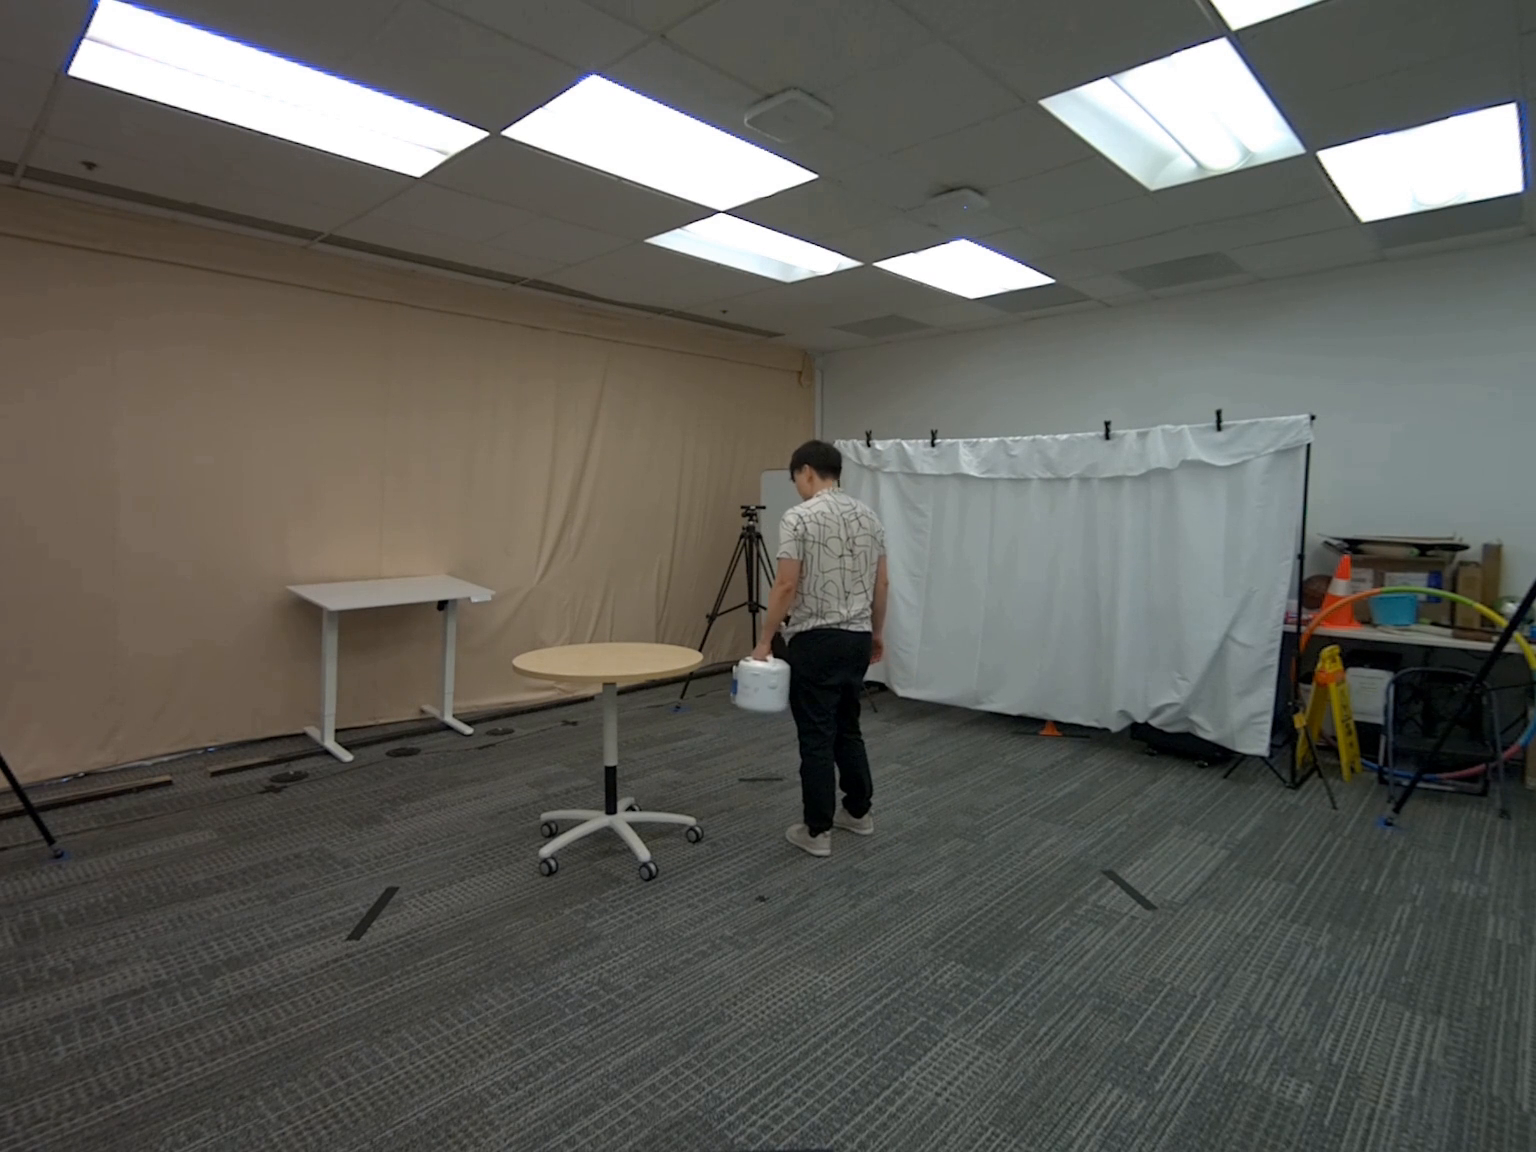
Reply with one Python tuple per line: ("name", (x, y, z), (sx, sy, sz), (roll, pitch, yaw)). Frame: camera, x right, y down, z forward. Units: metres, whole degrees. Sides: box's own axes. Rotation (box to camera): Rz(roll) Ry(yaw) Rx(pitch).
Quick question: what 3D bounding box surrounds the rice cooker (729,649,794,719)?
("rice cooker", (-0.008, 0.426, 3.372), (0.213, 0.233, 0.224), (6, -2, -18))
